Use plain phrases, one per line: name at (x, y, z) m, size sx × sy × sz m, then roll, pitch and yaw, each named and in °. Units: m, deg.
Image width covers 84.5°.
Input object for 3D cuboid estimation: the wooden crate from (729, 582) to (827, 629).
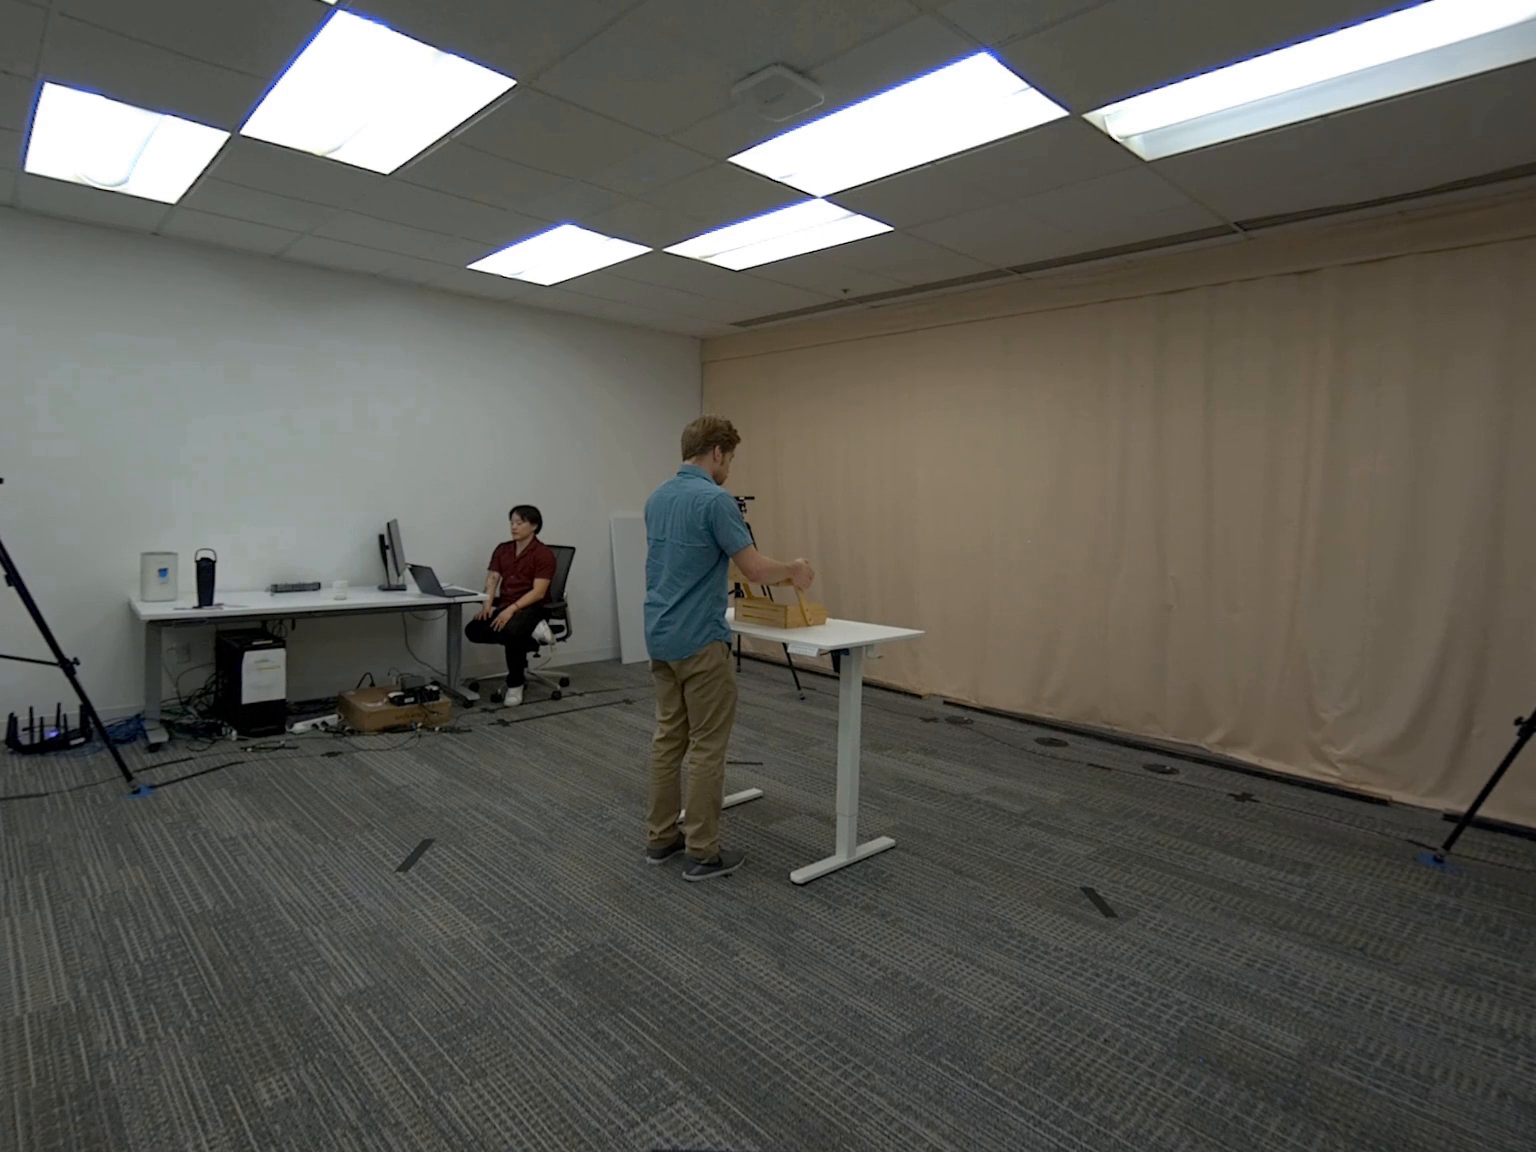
wooden crate at (0.029, 0.062, 3.475) m, size 0.295 × 0.273 × 0.332 m, roll -3°, pitch 5°, yaw -44°
